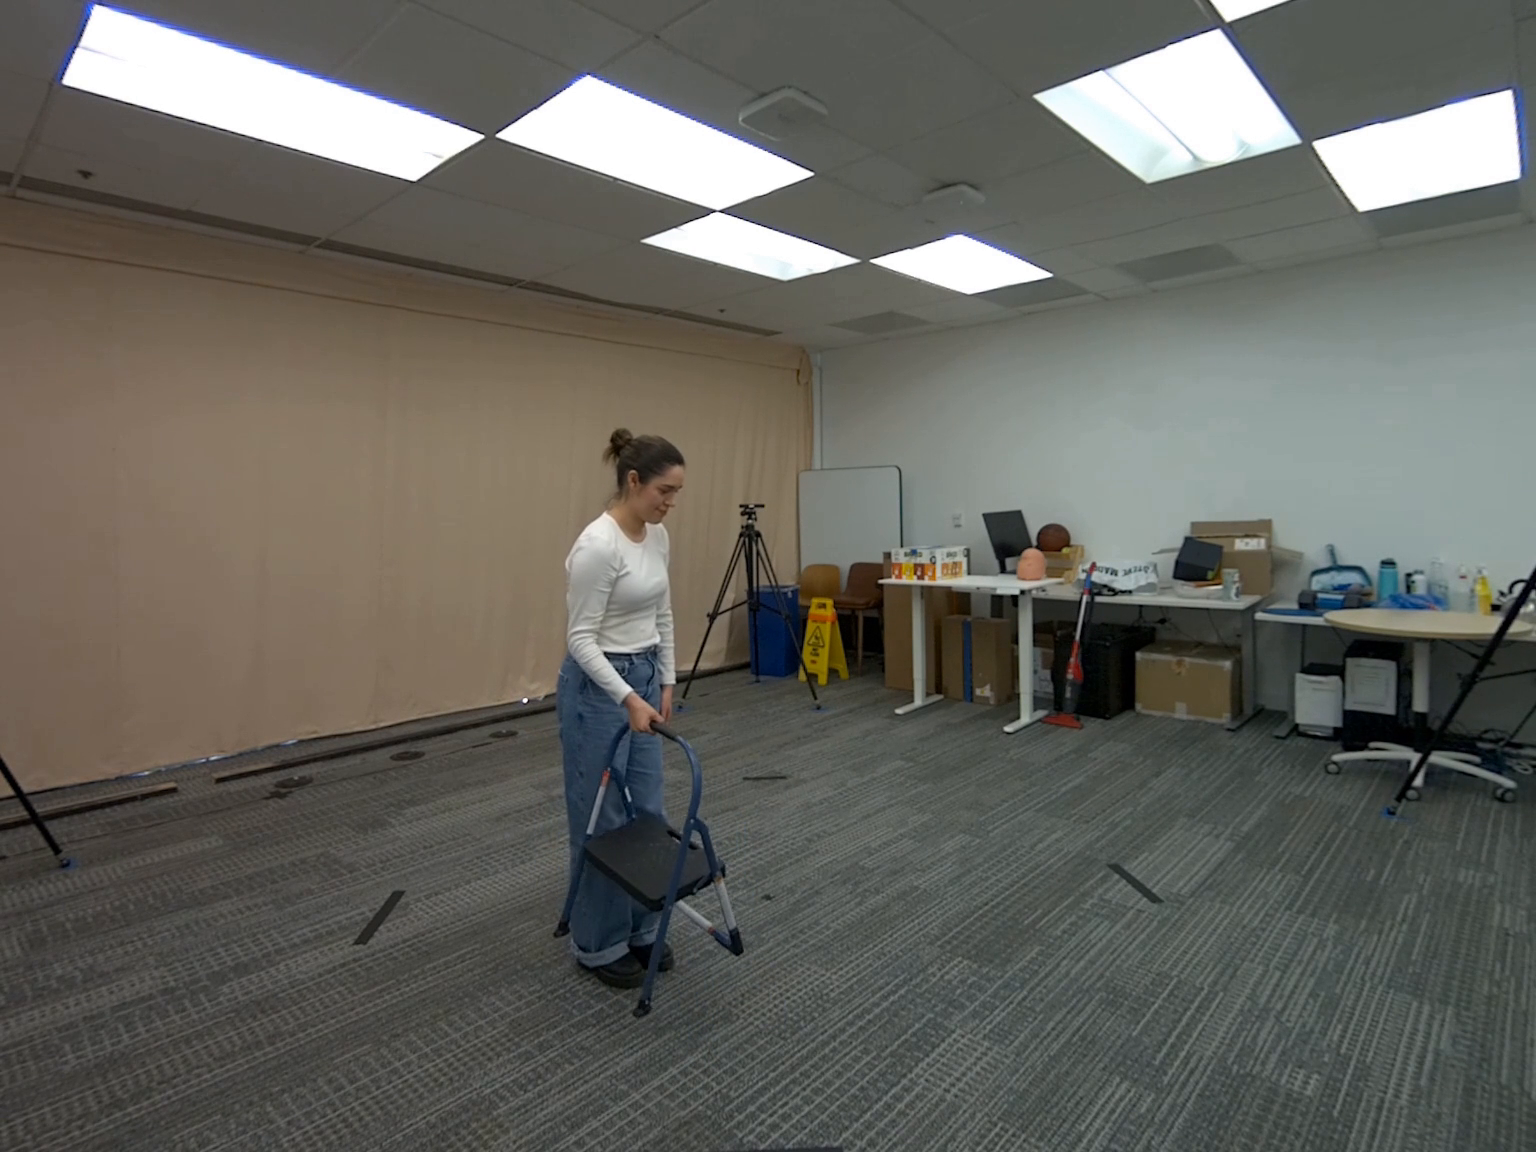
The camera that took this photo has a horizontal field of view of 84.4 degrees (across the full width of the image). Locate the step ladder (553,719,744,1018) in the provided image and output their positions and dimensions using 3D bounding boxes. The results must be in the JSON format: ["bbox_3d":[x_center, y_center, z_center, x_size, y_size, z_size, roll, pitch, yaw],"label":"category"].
[{"bbox_3d":[-0.318,0.718,2.225,0.340,0.601,0.446,-12,17,-40],"label":"step ladder"}]
